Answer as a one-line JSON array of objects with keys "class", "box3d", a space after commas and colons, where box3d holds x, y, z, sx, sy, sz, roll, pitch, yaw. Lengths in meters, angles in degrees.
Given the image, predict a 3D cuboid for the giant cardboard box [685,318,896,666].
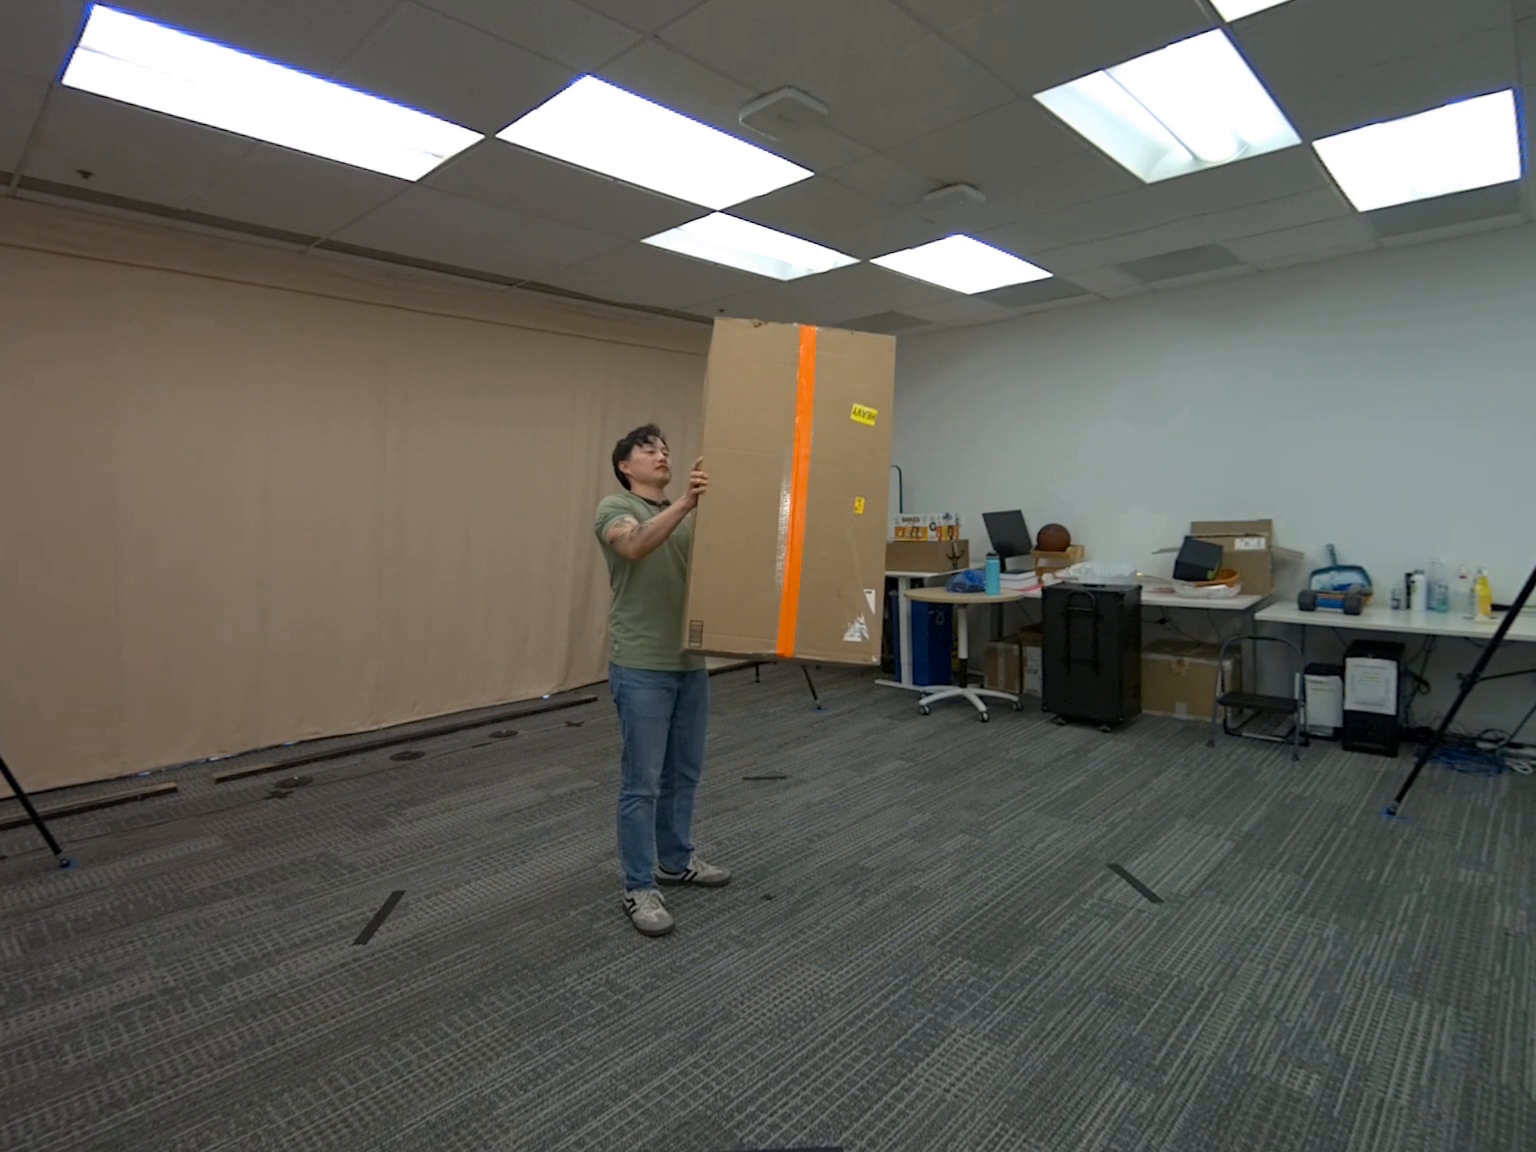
[{"class": "giant cardboard box", "box3d": [0.053, -0.237, 2.725, 0.575, 1.031, 0.426, 6, -9, -5]}]
